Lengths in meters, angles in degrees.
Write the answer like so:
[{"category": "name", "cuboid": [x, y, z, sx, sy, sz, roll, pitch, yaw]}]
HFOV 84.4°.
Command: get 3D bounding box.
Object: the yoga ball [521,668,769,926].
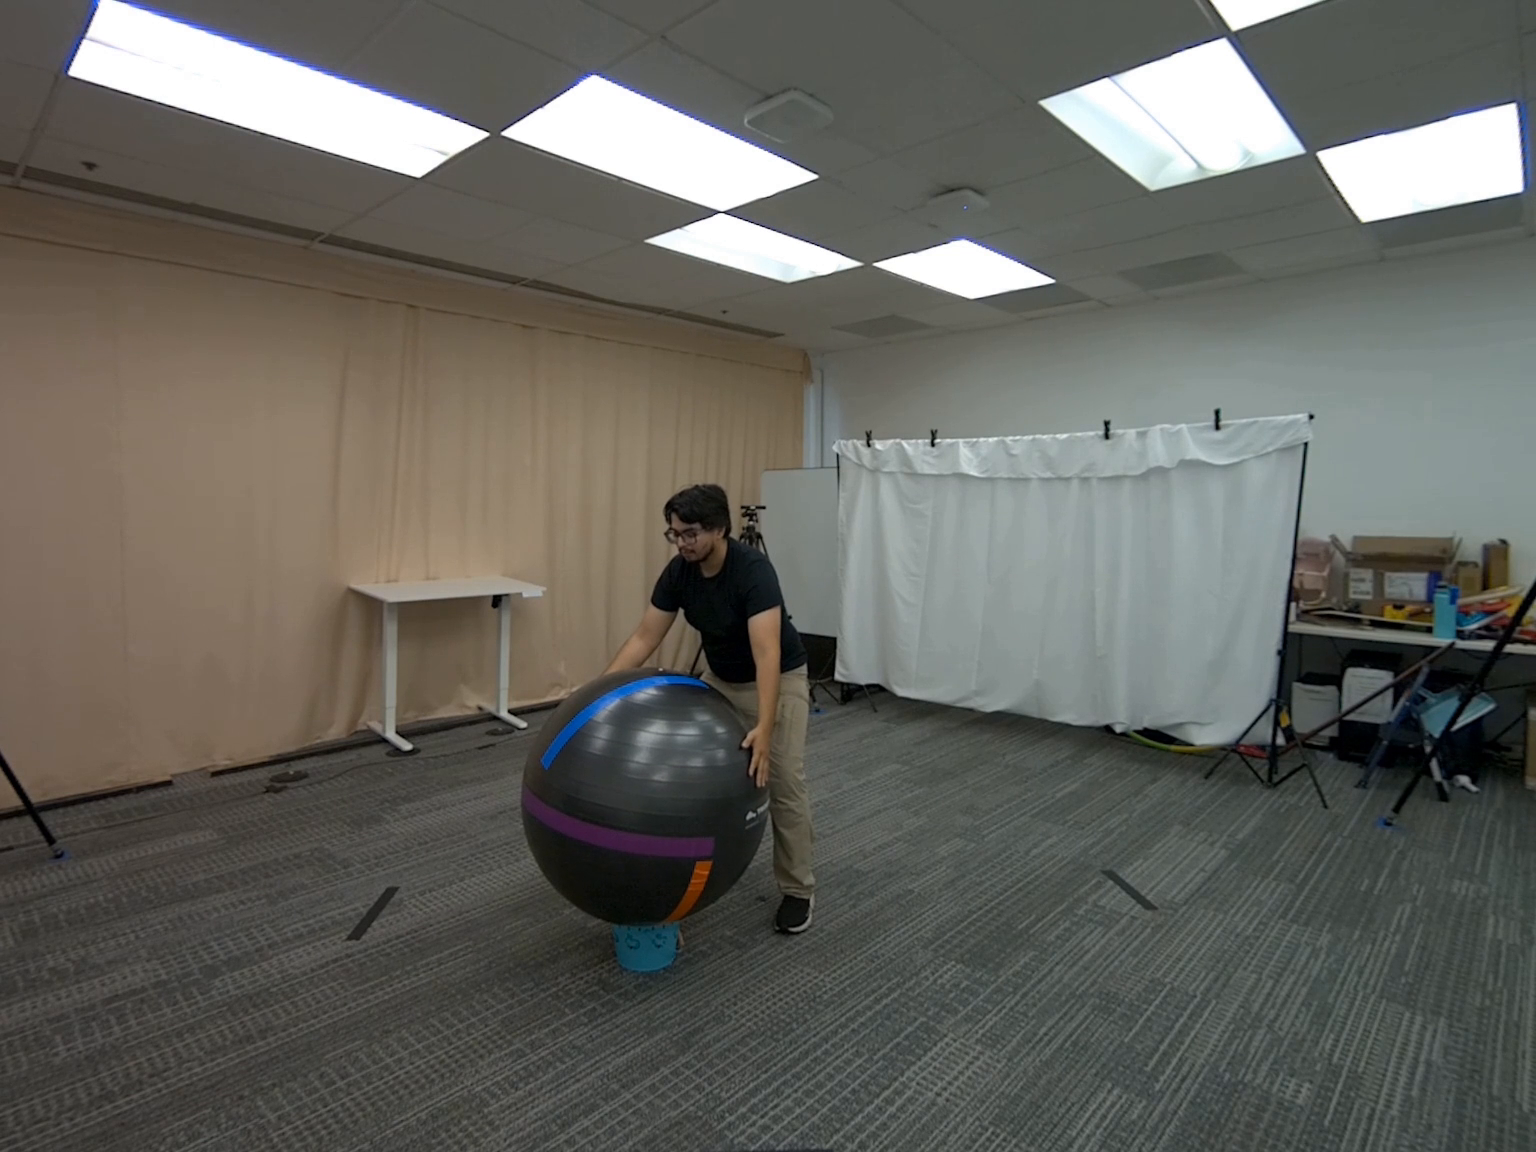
[{"category": "yoga ball", "cuboid": [-0.372, 0.664, 2.589, 0.757, 0.756, 0.760, 0, 4, -2]}]
